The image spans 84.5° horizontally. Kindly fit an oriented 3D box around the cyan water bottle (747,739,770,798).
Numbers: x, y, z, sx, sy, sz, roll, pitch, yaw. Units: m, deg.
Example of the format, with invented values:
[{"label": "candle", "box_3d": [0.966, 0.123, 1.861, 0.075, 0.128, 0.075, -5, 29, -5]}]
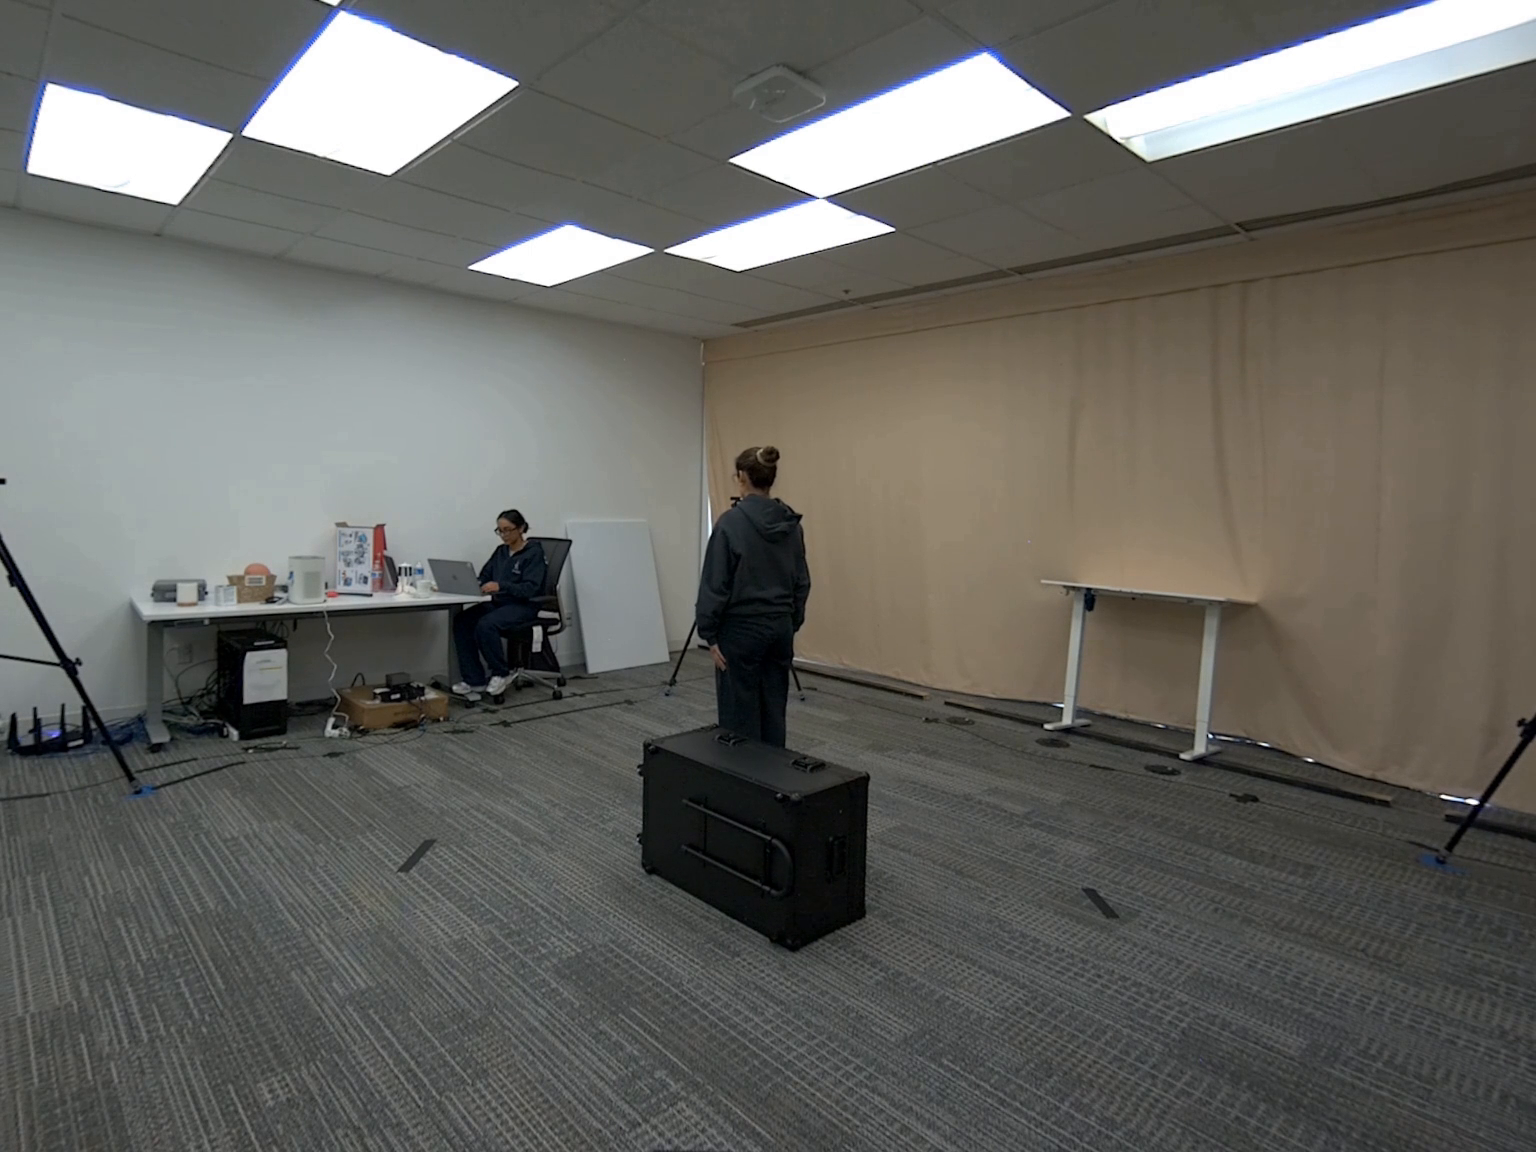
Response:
[{"label": "cyan water bottle", "box_3d": [-0.049, 0.890, 4.016, 0.092, 0.283, 0.092, 2, 2, -1]}]
